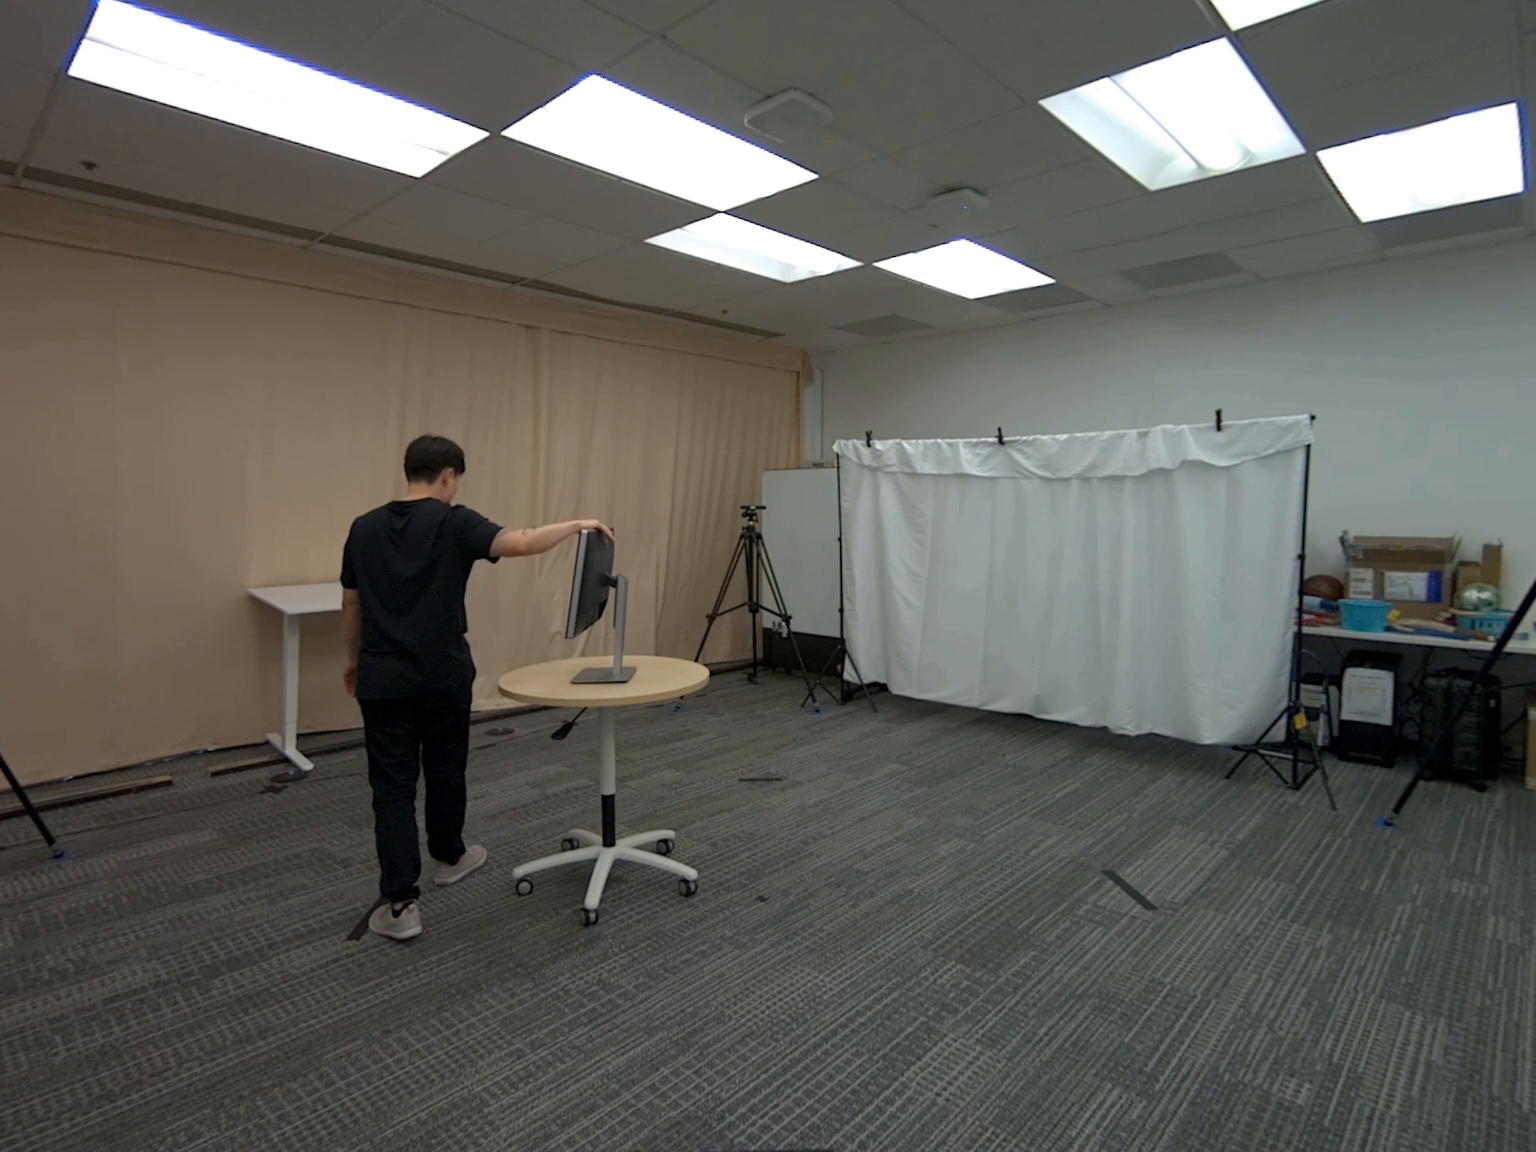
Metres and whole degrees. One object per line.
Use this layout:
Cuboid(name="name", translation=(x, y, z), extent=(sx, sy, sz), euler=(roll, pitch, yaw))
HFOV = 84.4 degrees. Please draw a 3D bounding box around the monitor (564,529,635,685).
Cuboid(name="monitor", translation=(-0.590, 0.105, 3.034), extent=(0.187, 0.521, 0.541), euler=(-2, 3, -3))
